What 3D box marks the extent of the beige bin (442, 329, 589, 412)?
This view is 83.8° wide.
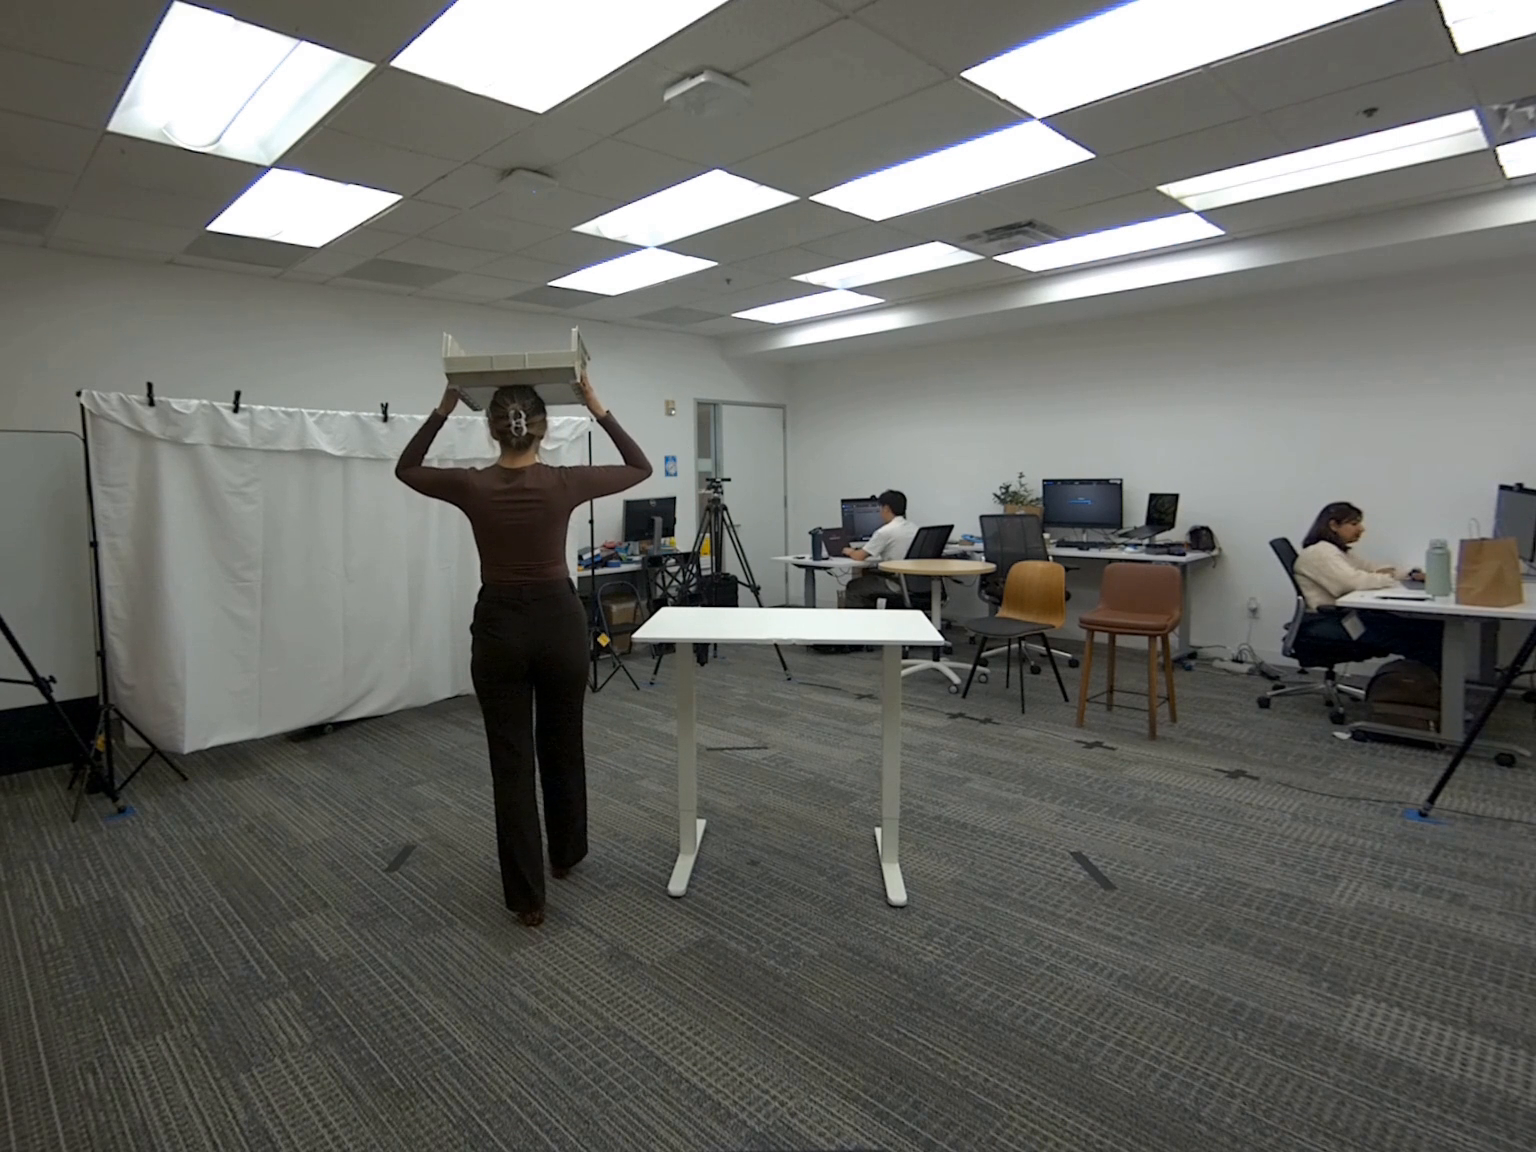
[{"bbox_3d":[-0.810,-0.685,2.824,0.421,0.190,0.377,-1,-3,-3],"label":"beige bin"}]
